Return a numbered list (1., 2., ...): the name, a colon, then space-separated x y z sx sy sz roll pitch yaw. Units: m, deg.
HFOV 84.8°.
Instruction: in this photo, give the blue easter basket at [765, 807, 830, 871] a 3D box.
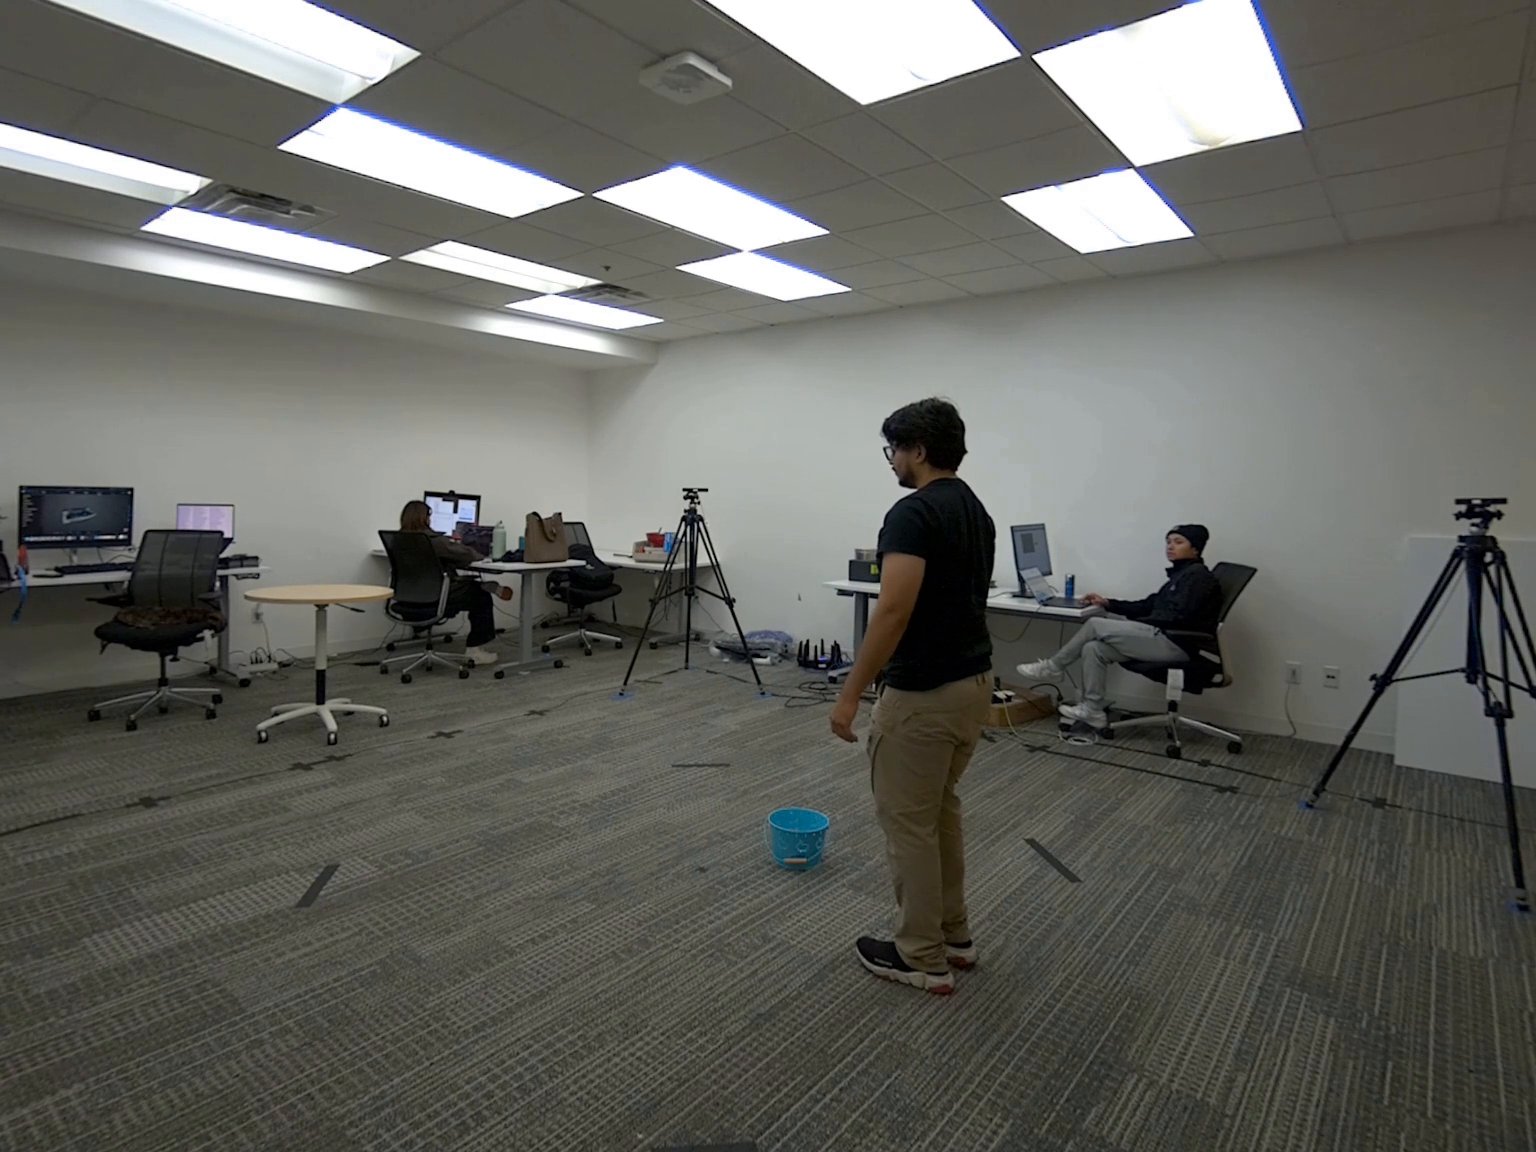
1. blue easter basket: 0.105 0.990 3.209 0.243 0.155 0.245 1 5 -2
